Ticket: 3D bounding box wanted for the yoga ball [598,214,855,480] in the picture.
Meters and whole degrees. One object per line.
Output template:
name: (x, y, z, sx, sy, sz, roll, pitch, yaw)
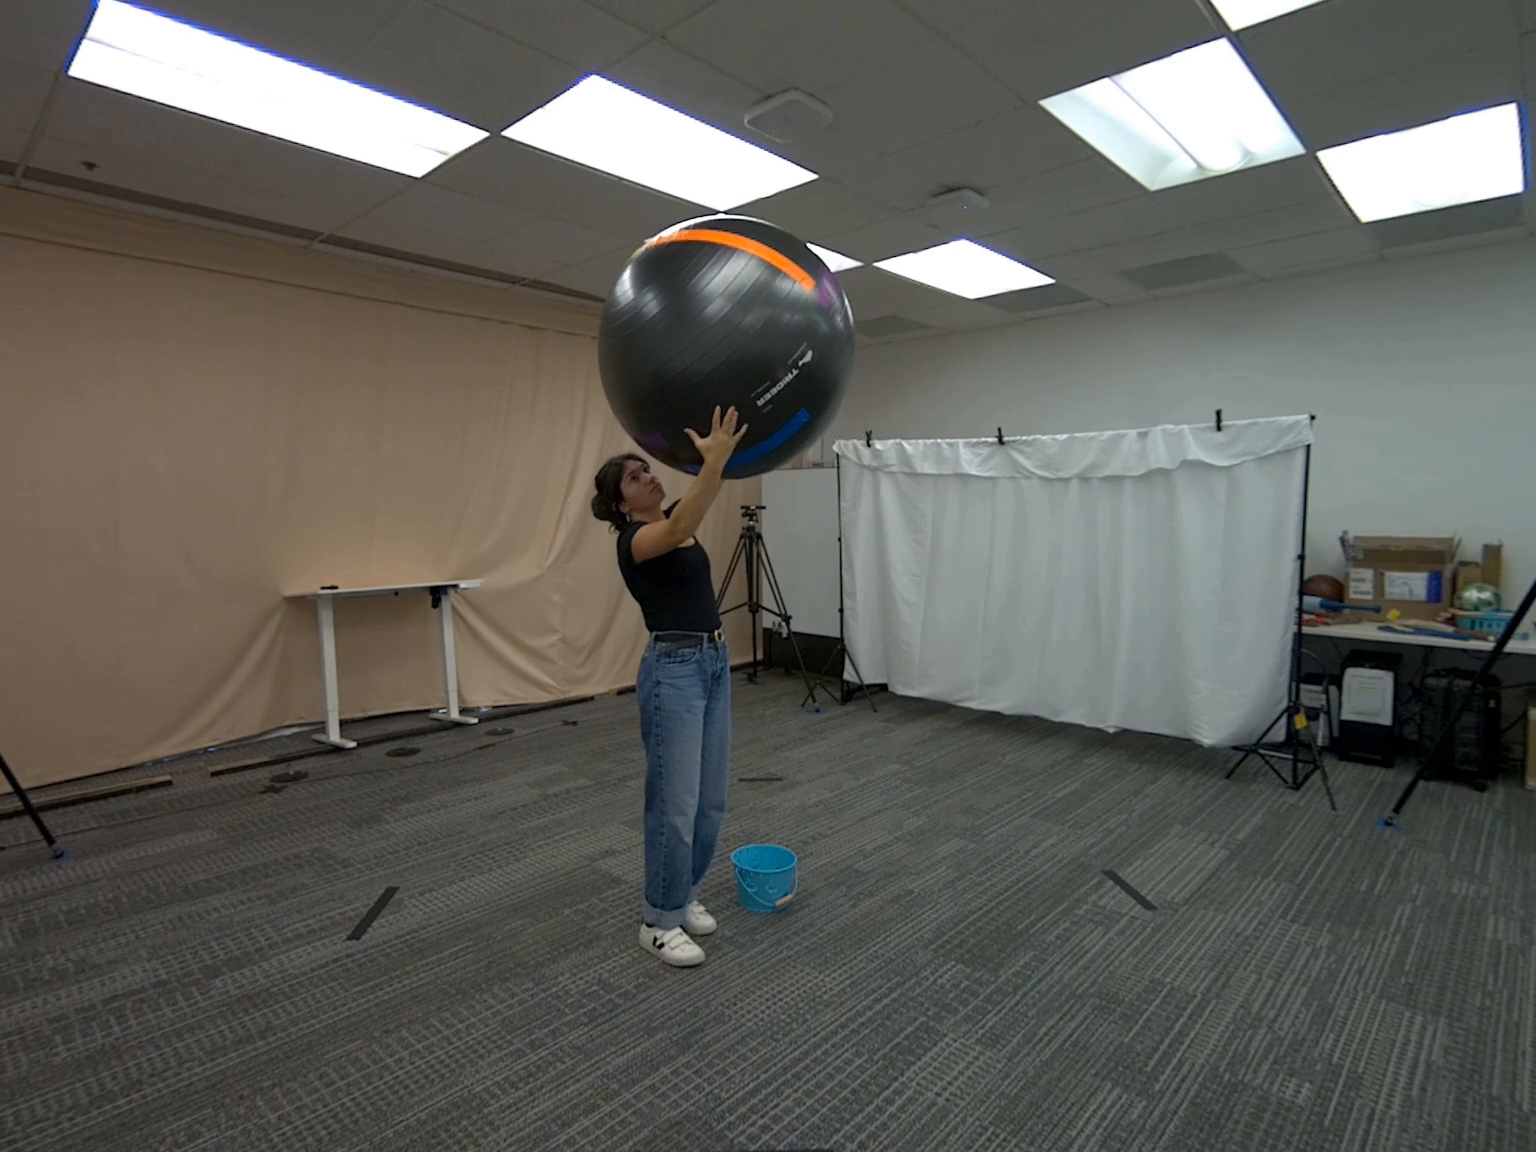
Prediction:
yoga ball: (-0.119, -0.657, 2.502, 0.757, 0.756, 0.760, 0, 4, -2)
